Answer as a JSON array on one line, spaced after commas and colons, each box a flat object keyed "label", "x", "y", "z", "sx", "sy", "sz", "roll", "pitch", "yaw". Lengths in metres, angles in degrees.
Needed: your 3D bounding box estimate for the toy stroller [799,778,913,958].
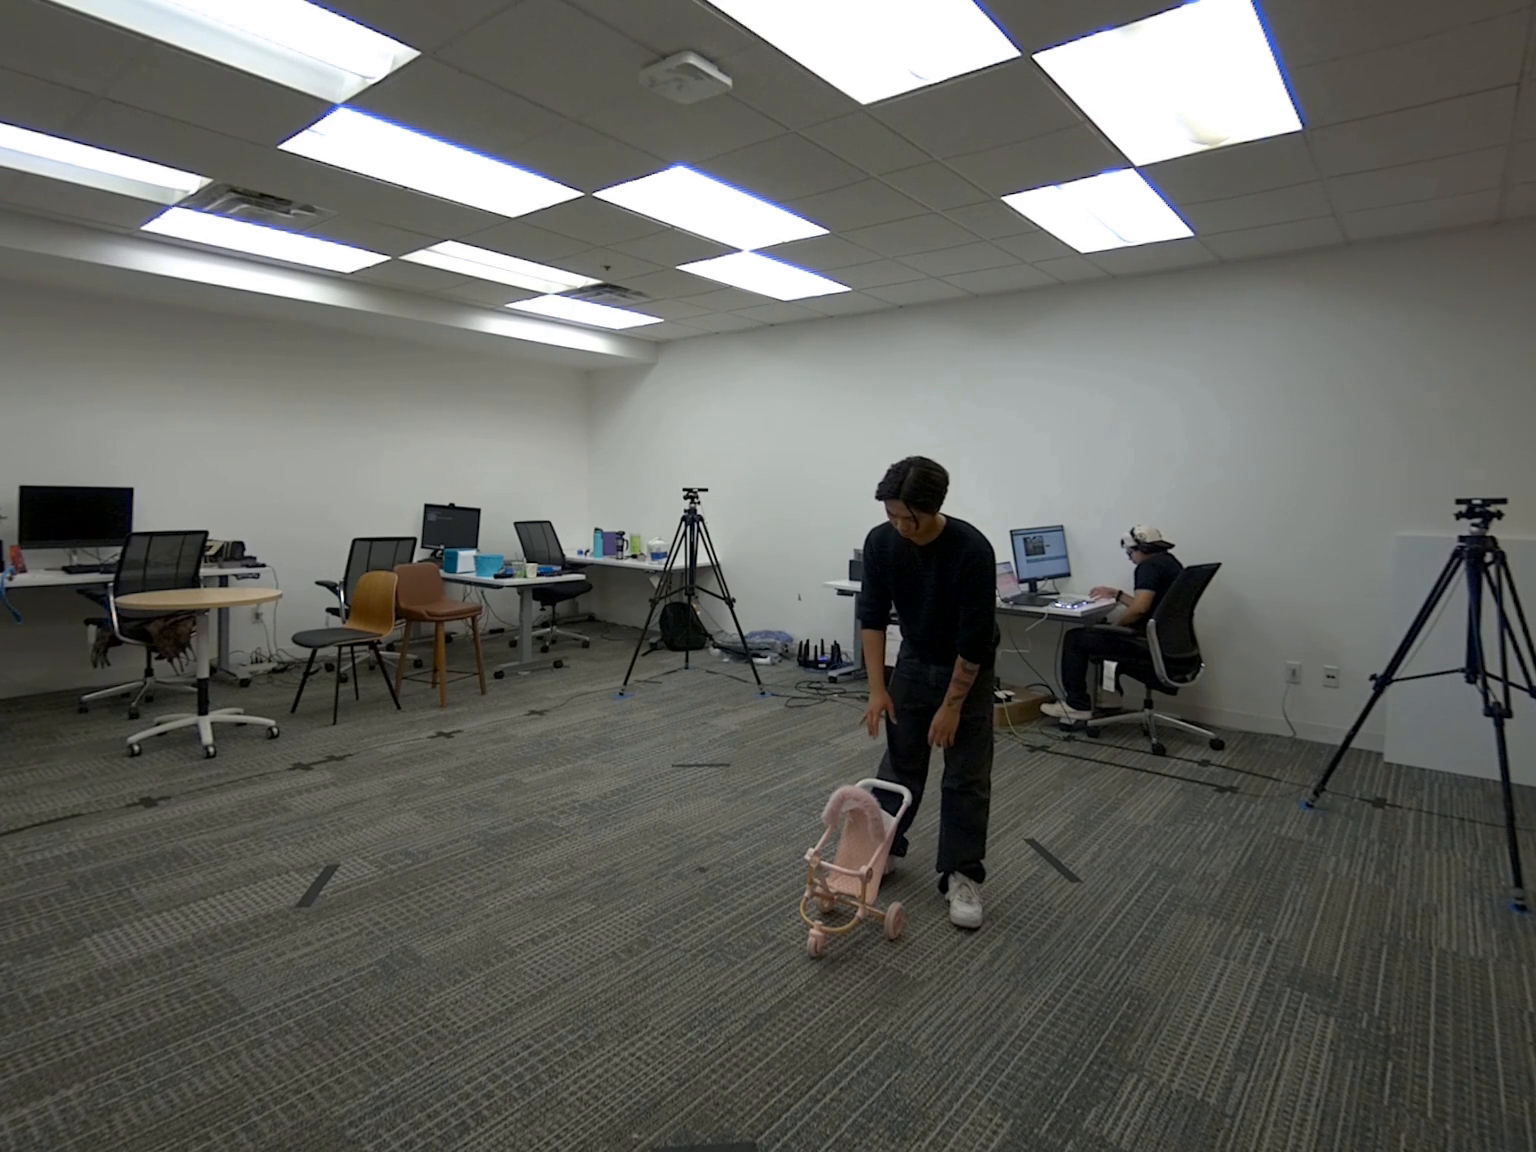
[{"label": "toy stroller", "x": 0.255, "y": 0.901, "z": 2.683, "sx": 0.291, "sy": 0.539, "sz": 0.327, "roll": 3, "pitch": -13, "yaw": 41}]
